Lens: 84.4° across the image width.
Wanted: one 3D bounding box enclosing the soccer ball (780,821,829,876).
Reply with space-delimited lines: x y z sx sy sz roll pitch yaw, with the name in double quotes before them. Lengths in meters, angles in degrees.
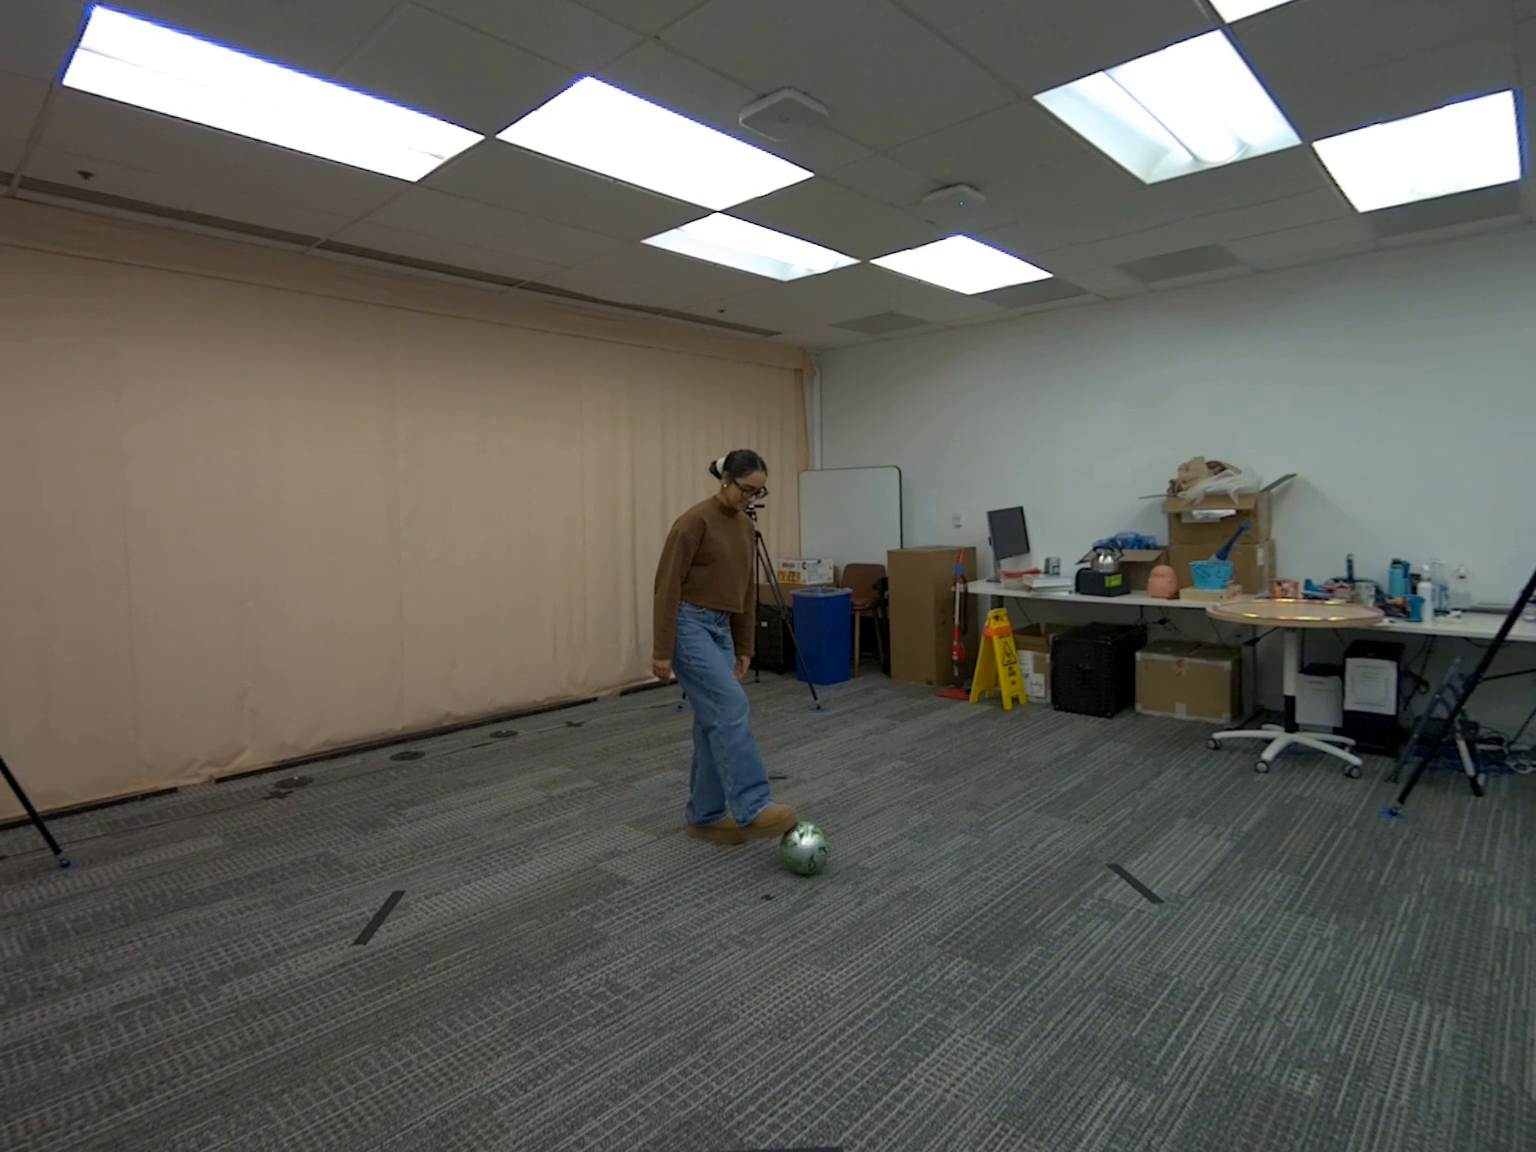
"soccer ball" 0.135 1.027 3.179 0.187 0.187 0.188 -1 4 -2
